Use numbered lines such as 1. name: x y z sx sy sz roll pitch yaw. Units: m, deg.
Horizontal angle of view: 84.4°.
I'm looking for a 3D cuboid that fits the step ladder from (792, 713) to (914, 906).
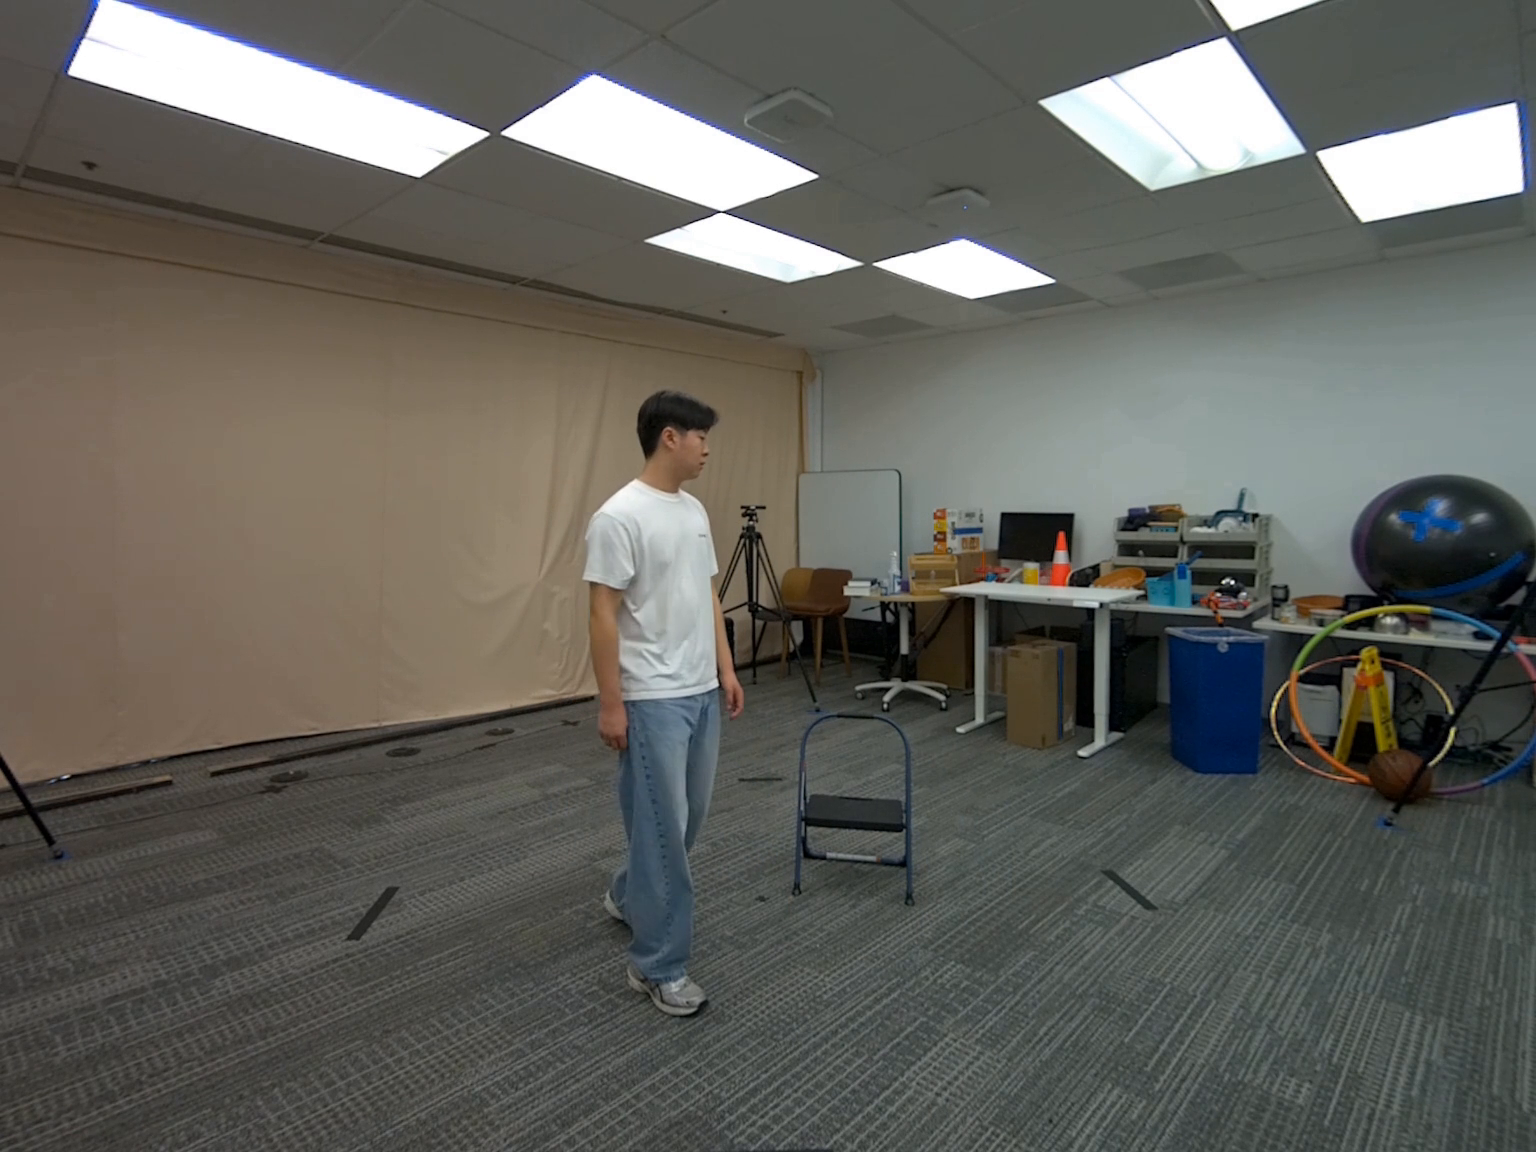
1. step ladder: 0.328 0.827 3.124 0.436 0.605 0.346 1 3 10
